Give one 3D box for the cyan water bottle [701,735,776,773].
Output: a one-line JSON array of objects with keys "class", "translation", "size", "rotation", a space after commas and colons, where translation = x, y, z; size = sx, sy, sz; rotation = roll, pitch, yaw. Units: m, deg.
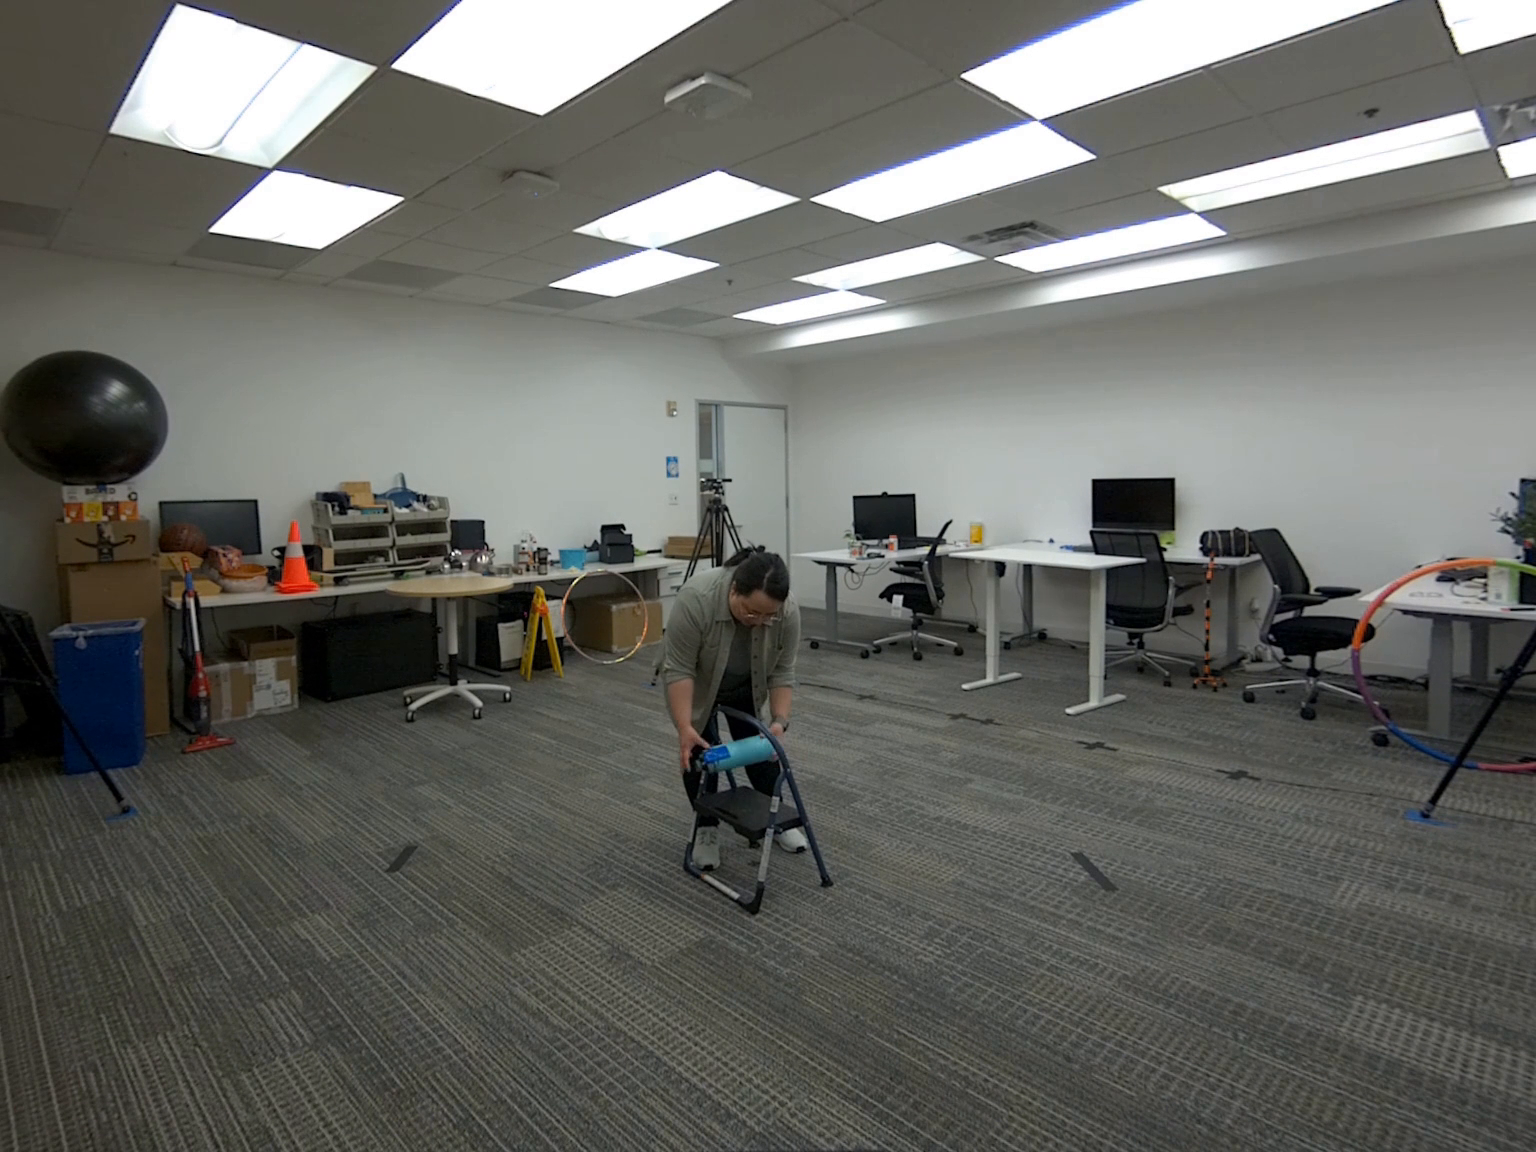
[{"class": "cyan water bottle", "translation": [-0.109, 0.613, 2.959], "size": [0.280, 0.092, 0.094], "rotation": [-10, 7, -17]}]
